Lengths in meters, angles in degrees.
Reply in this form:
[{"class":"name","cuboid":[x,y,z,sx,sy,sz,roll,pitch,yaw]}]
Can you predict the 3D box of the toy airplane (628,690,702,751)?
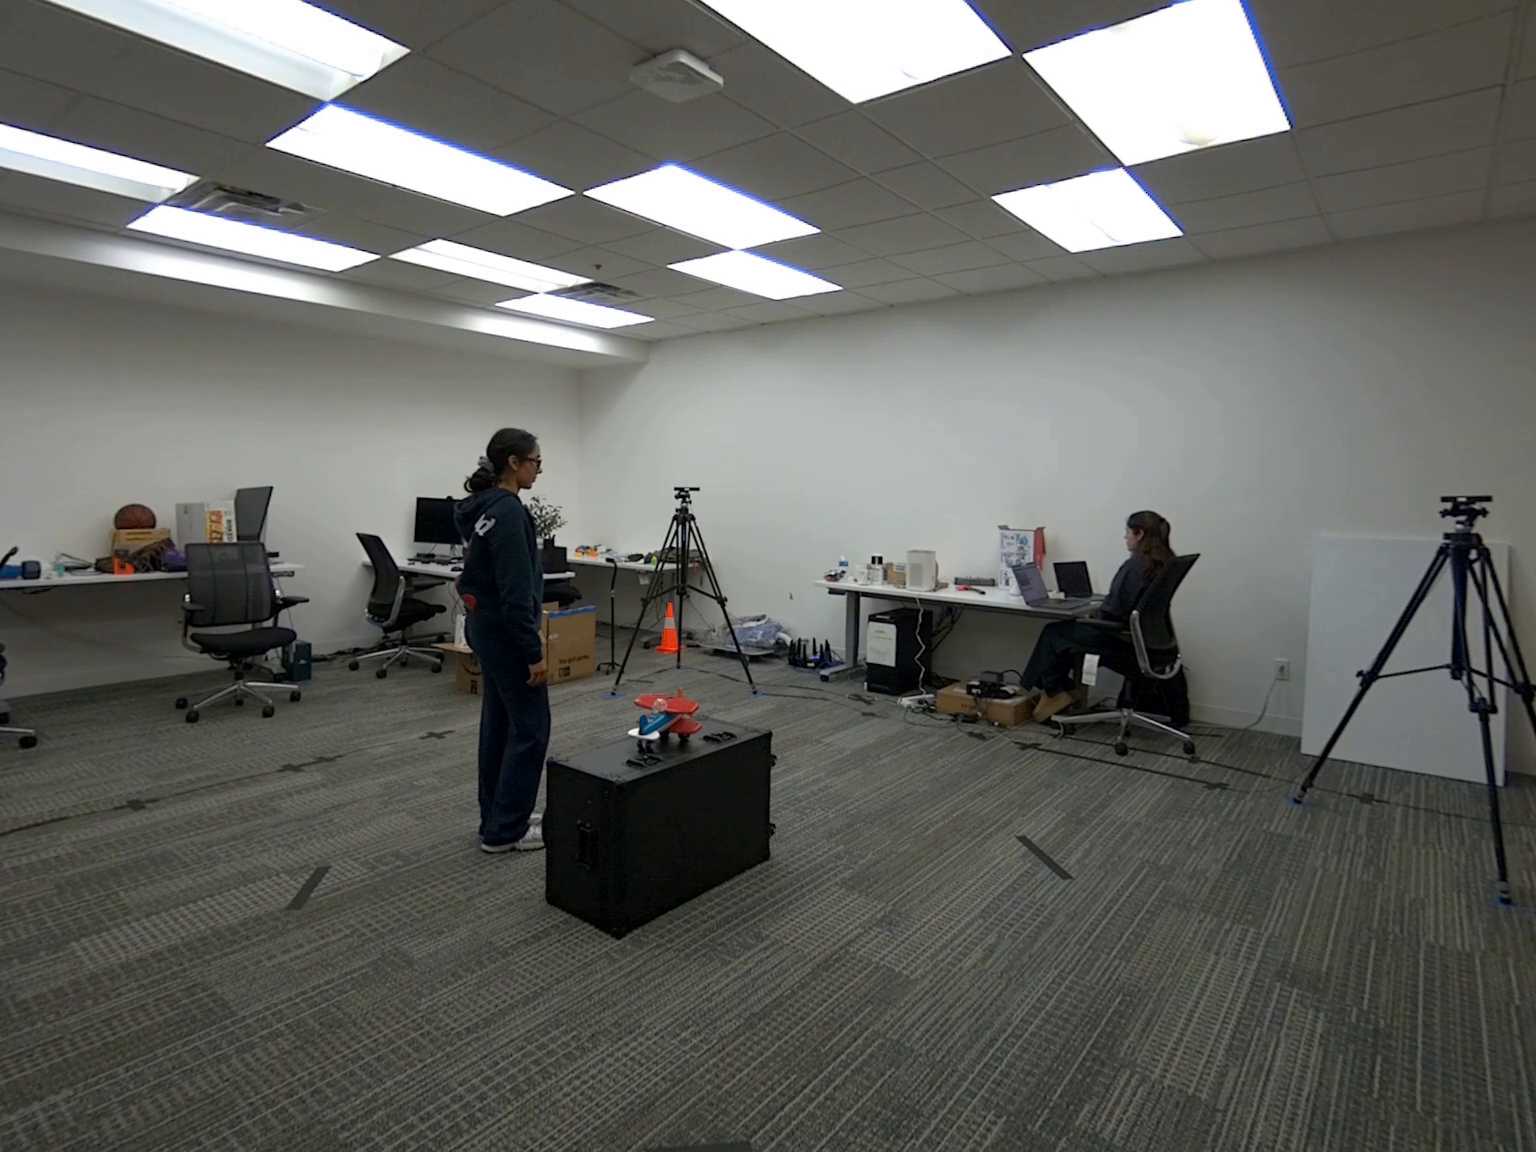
[{"class":"toy airplane","cuboid":[-0.361,0.516,3.002,0.252,0.156,0.259,2,4,1]}]
